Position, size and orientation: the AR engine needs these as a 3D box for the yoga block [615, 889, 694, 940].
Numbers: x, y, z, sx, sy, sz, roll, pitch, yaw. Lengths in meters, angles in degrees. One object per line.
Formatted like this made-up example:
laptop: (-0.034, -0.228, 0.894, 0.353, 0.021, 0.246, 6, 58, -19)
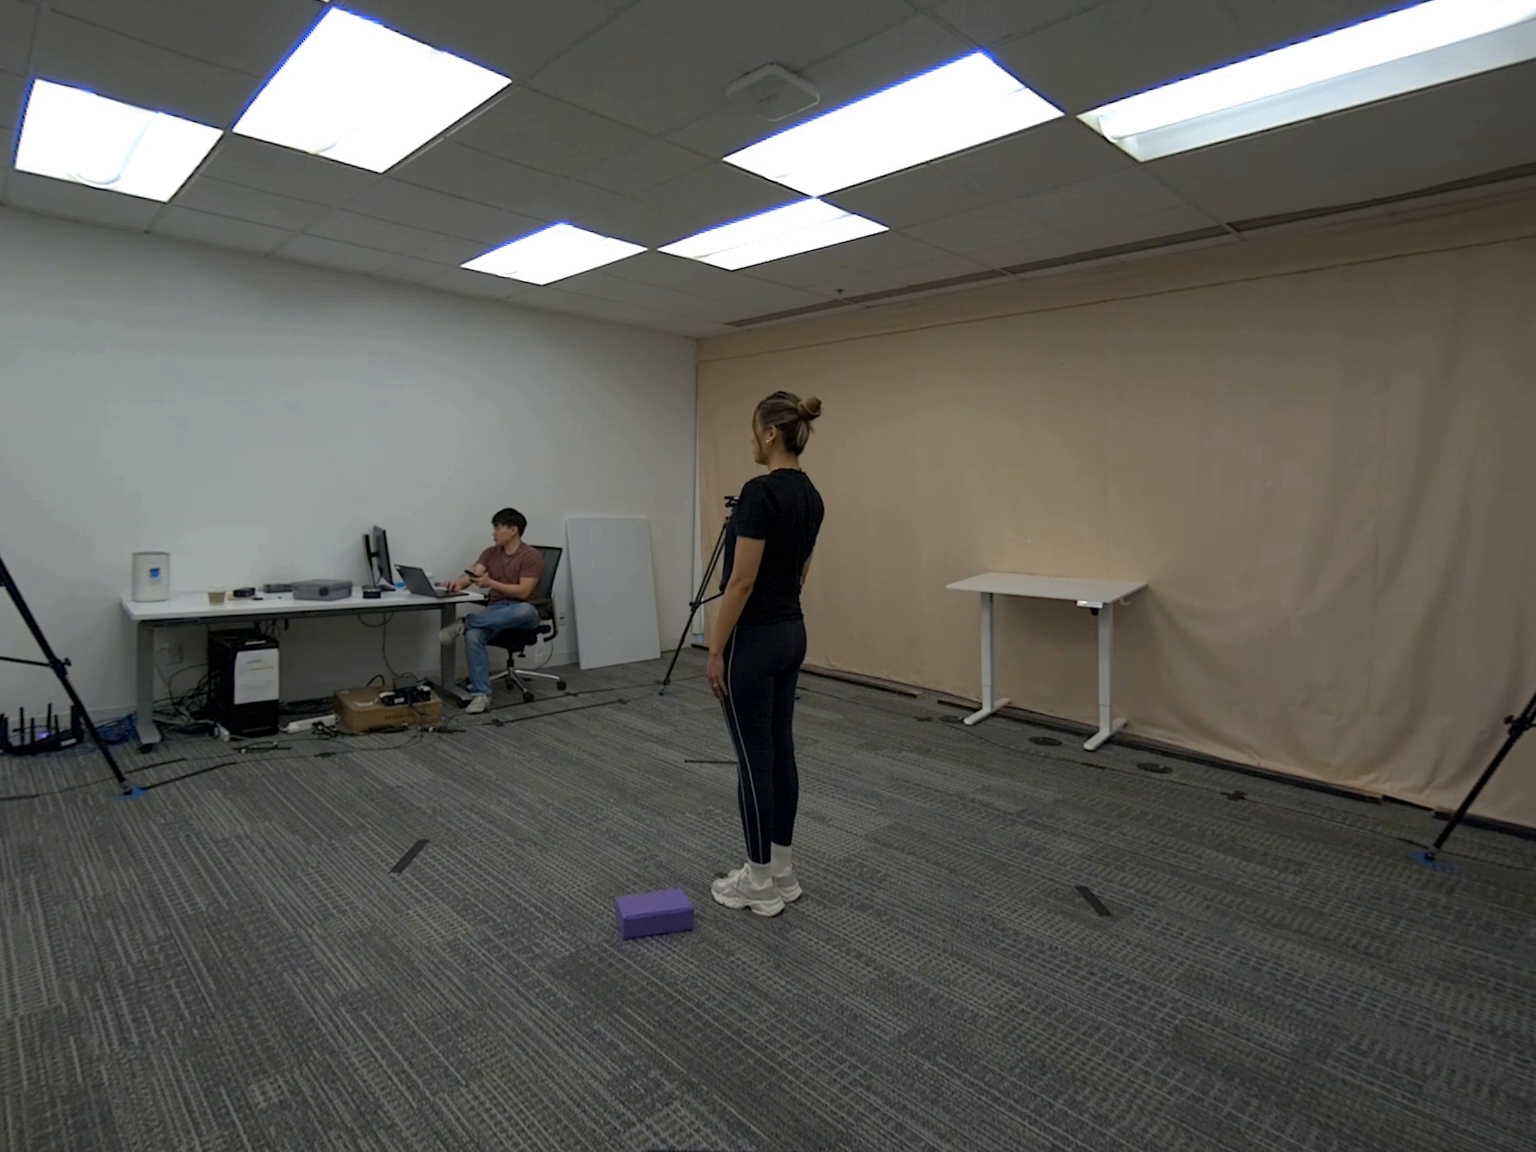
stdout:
yoga block: (-0.371, 1.094, 2.721, 0.226, 0.076, 0.151, 0, 4, -20)
